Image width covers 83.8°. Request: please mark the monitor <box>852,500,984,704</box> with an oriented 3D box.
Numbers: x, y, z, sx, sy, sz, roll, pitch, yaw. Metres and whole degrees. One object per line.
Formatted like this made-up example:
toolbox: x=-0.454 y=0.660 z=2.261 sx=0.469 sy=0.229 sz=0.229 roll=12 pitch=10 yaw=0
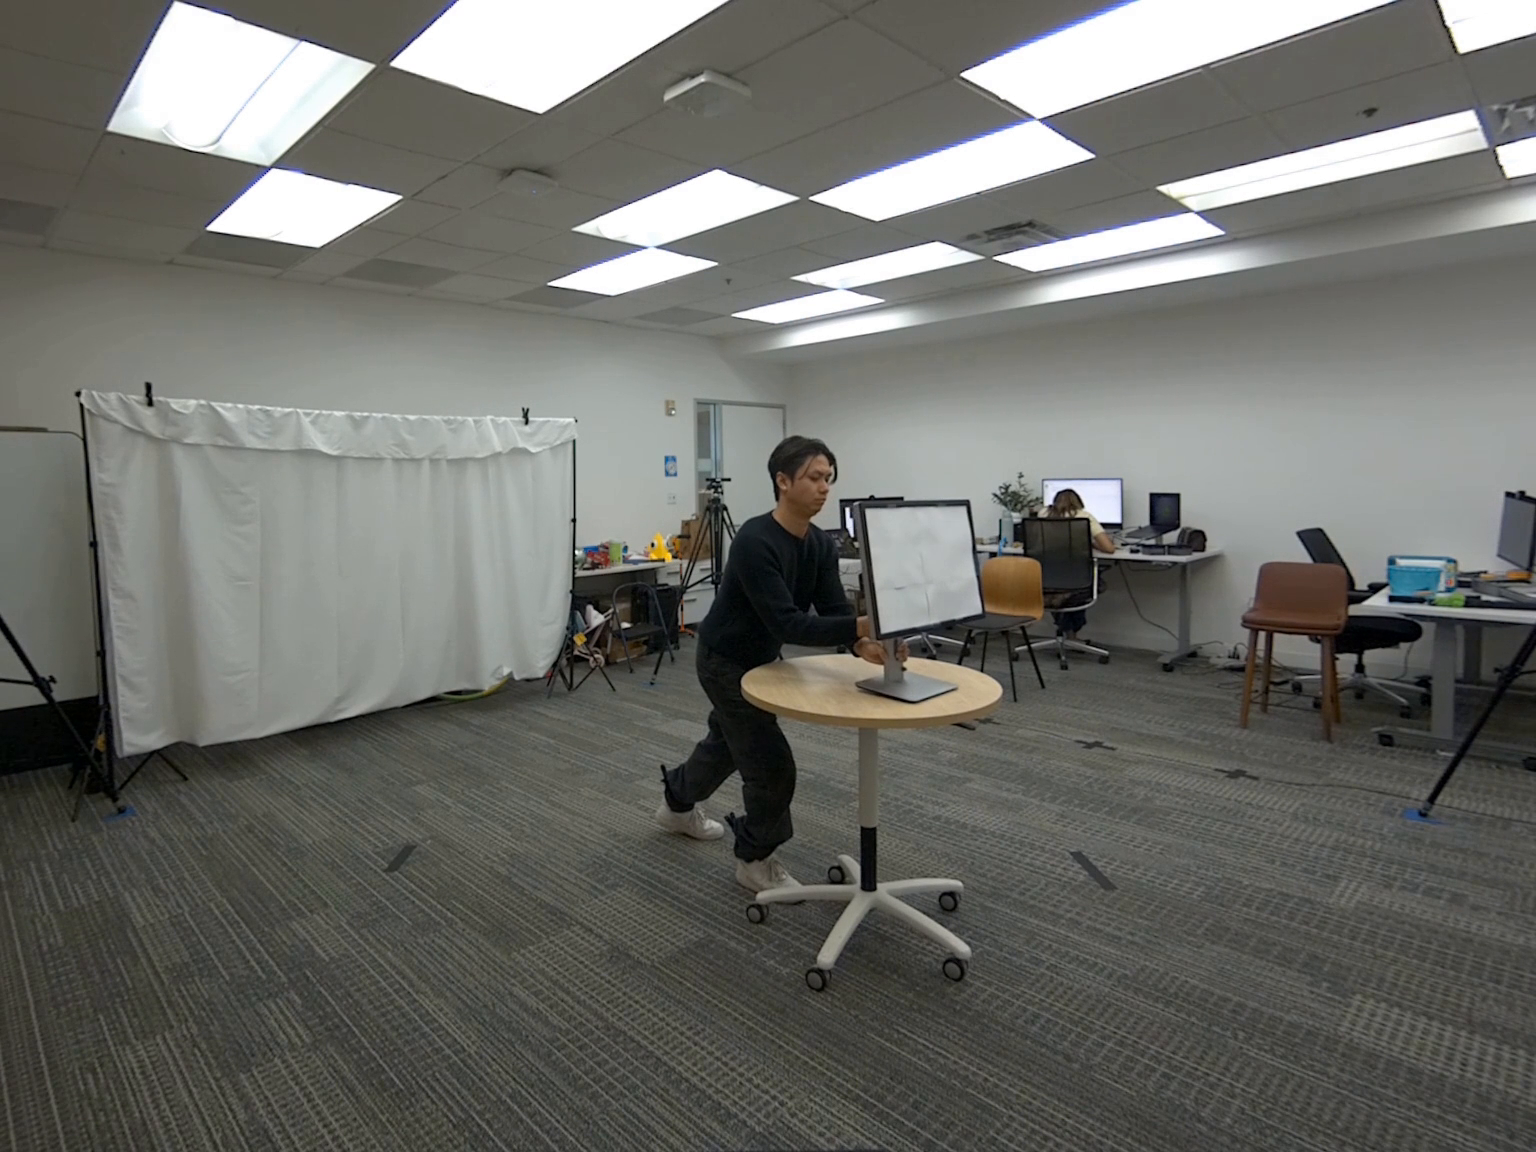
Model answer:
monitor: x=0.414 y=0.055 z=2.434 sx=0.180 sy=0.513 sz=0.515 roll=13 pitch=10 yaw=41
